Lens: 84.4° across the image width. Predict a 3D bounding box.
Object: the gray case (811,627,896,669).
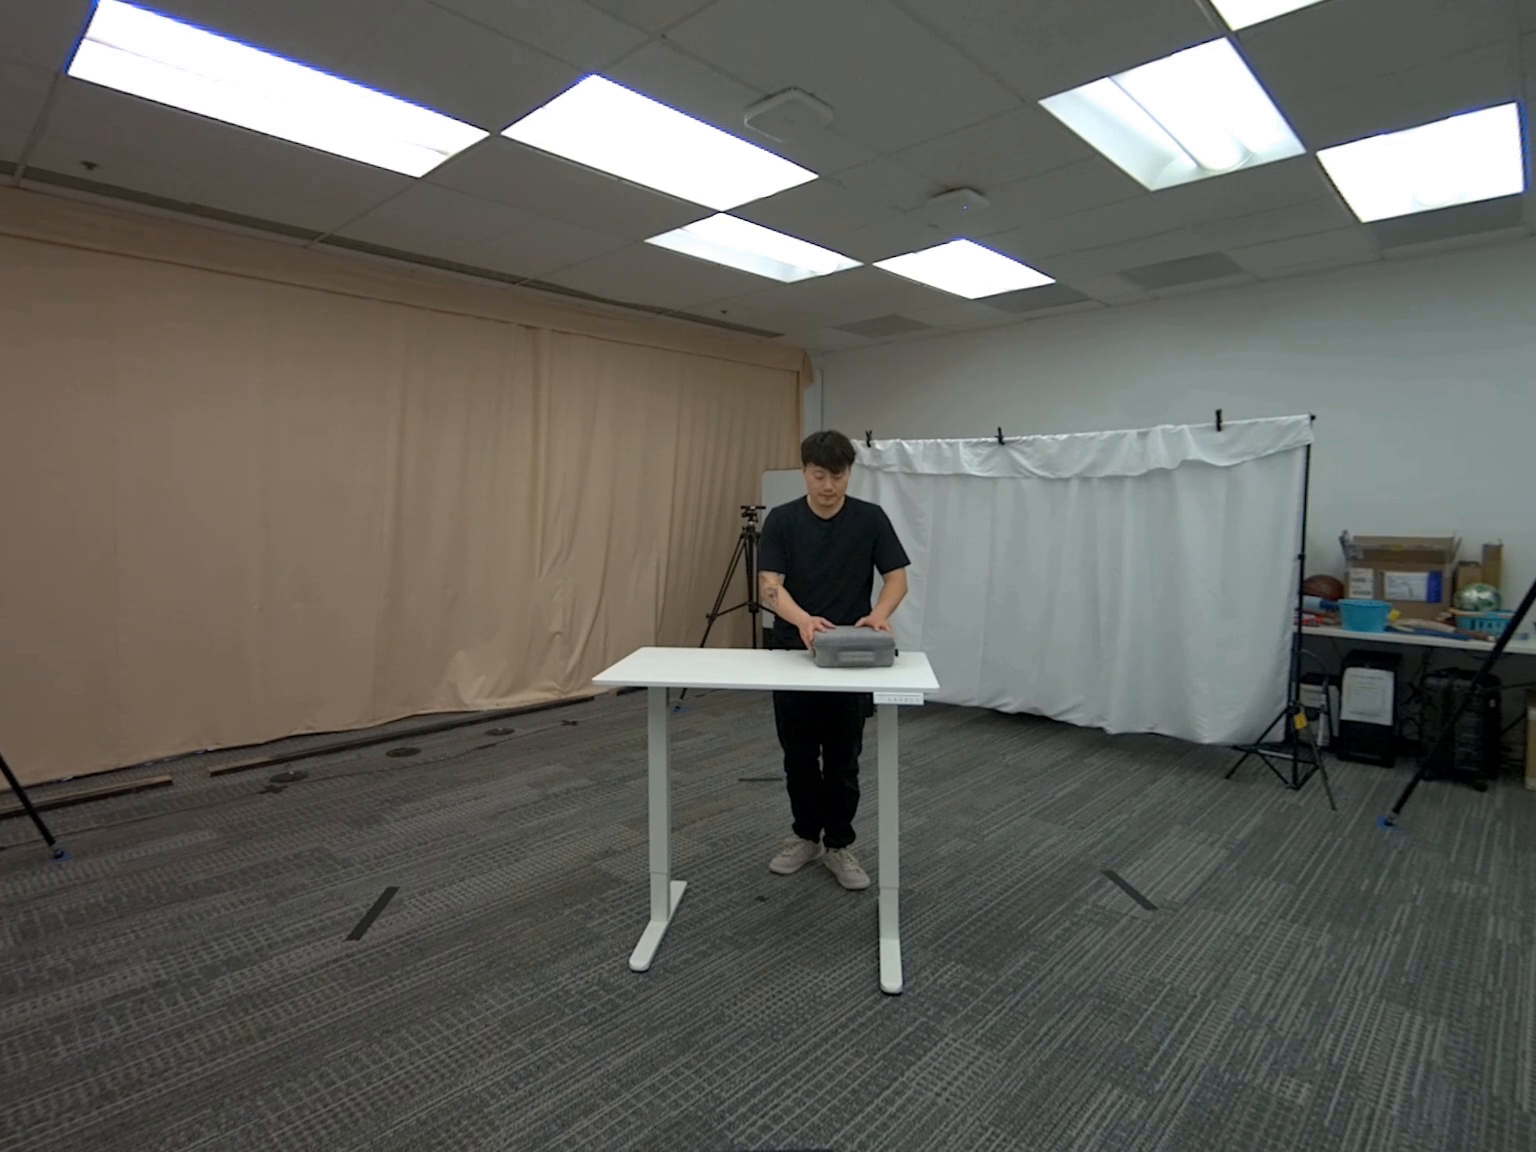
[{"bbox_3d":[0.271,0.235,2.736,0.257,0.104,0.261,3,3,-1],"label":"gray case"}]
